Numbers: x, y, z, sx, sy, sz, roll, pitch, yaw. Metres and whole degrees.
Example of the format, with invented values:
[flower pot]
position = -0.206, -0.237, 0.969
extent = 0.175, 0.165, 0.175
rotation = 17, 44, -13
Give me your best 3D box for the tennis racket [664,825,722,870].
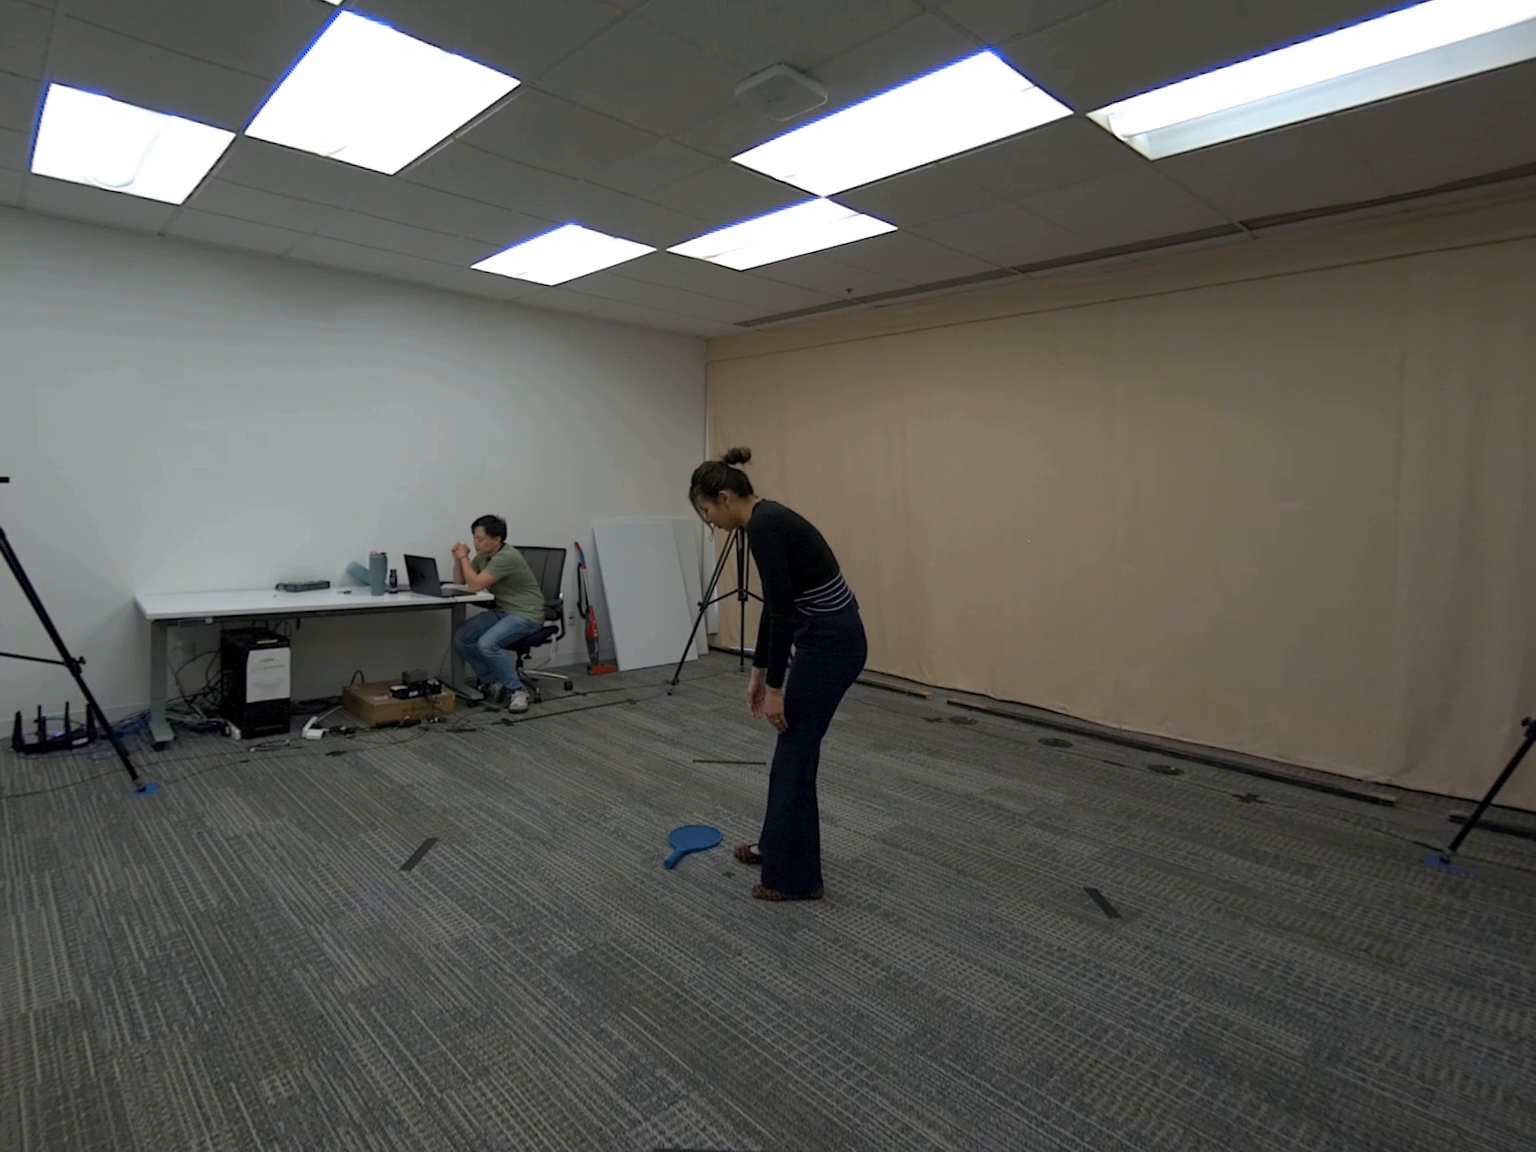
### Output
[tennis racket]
position = -0.317, 1.063, 3.339
extent = 0.216, 0.032, 0.429
rotation = 2, 4, 12
